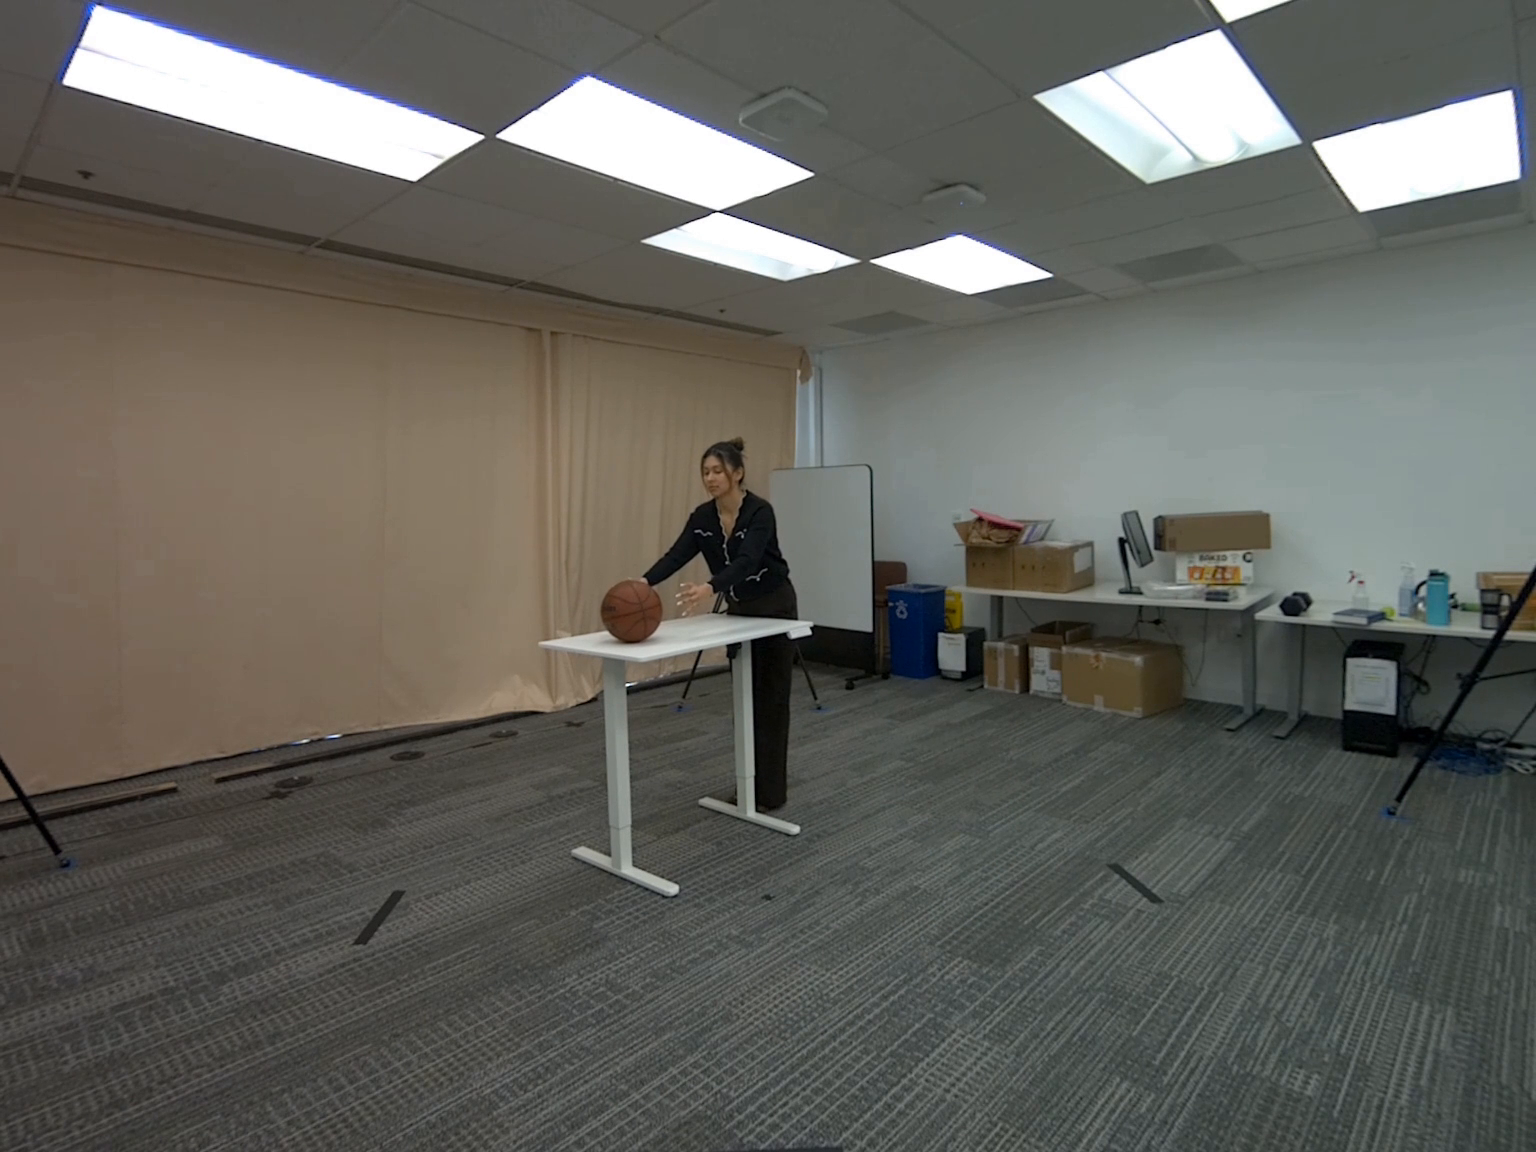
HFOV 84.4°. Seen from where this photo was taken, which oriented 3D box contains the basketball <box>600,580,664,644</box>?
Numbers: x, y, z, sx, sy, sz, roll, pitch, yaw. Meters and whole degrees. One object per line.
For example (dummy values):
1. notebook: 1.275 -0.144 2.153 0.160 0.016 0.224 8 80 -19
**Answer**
1. basketball: -0.514 0.132 3.216 0.236 0.235 0.237 -1 4 -2
